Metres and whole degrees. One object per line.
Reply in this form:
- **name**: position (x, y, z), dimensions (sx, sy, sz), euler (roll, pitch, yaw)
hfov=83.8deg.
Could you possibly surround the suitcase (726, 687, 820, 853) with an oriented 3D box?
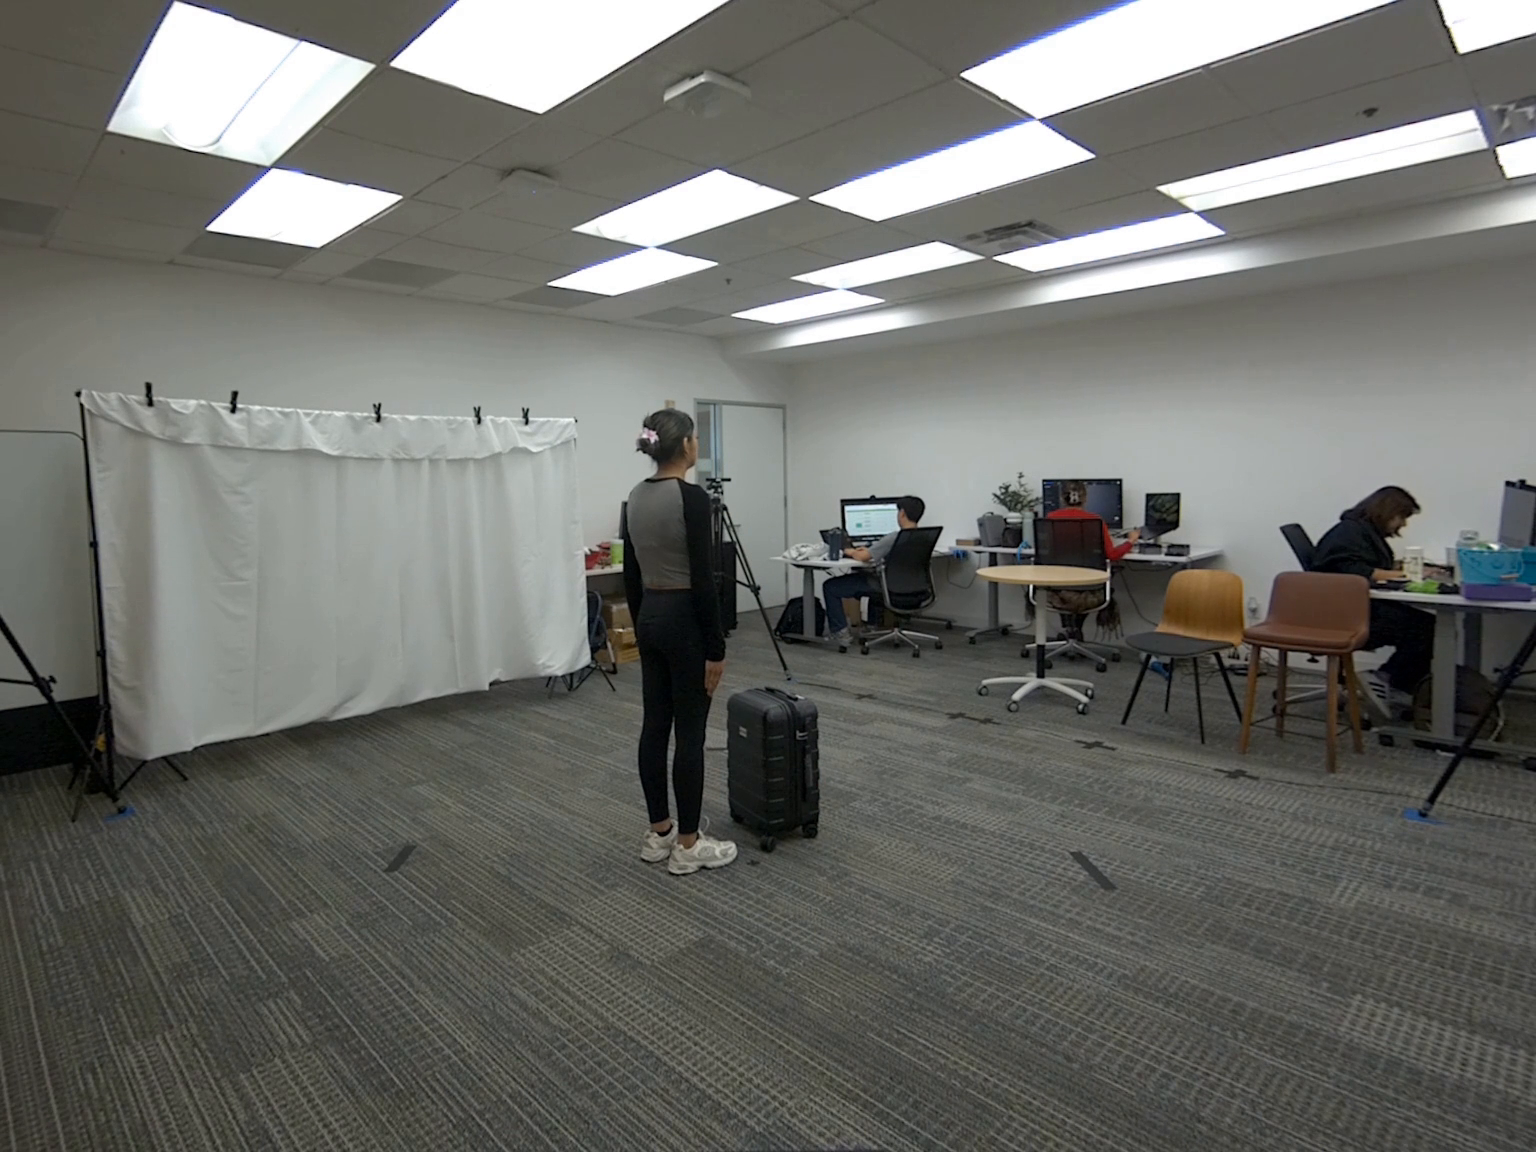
- **suitcase**: position (0.019, 0.729, 3.387), dimensions (0.242, 0.547, 0.386), euler (-4, 6, -30)
